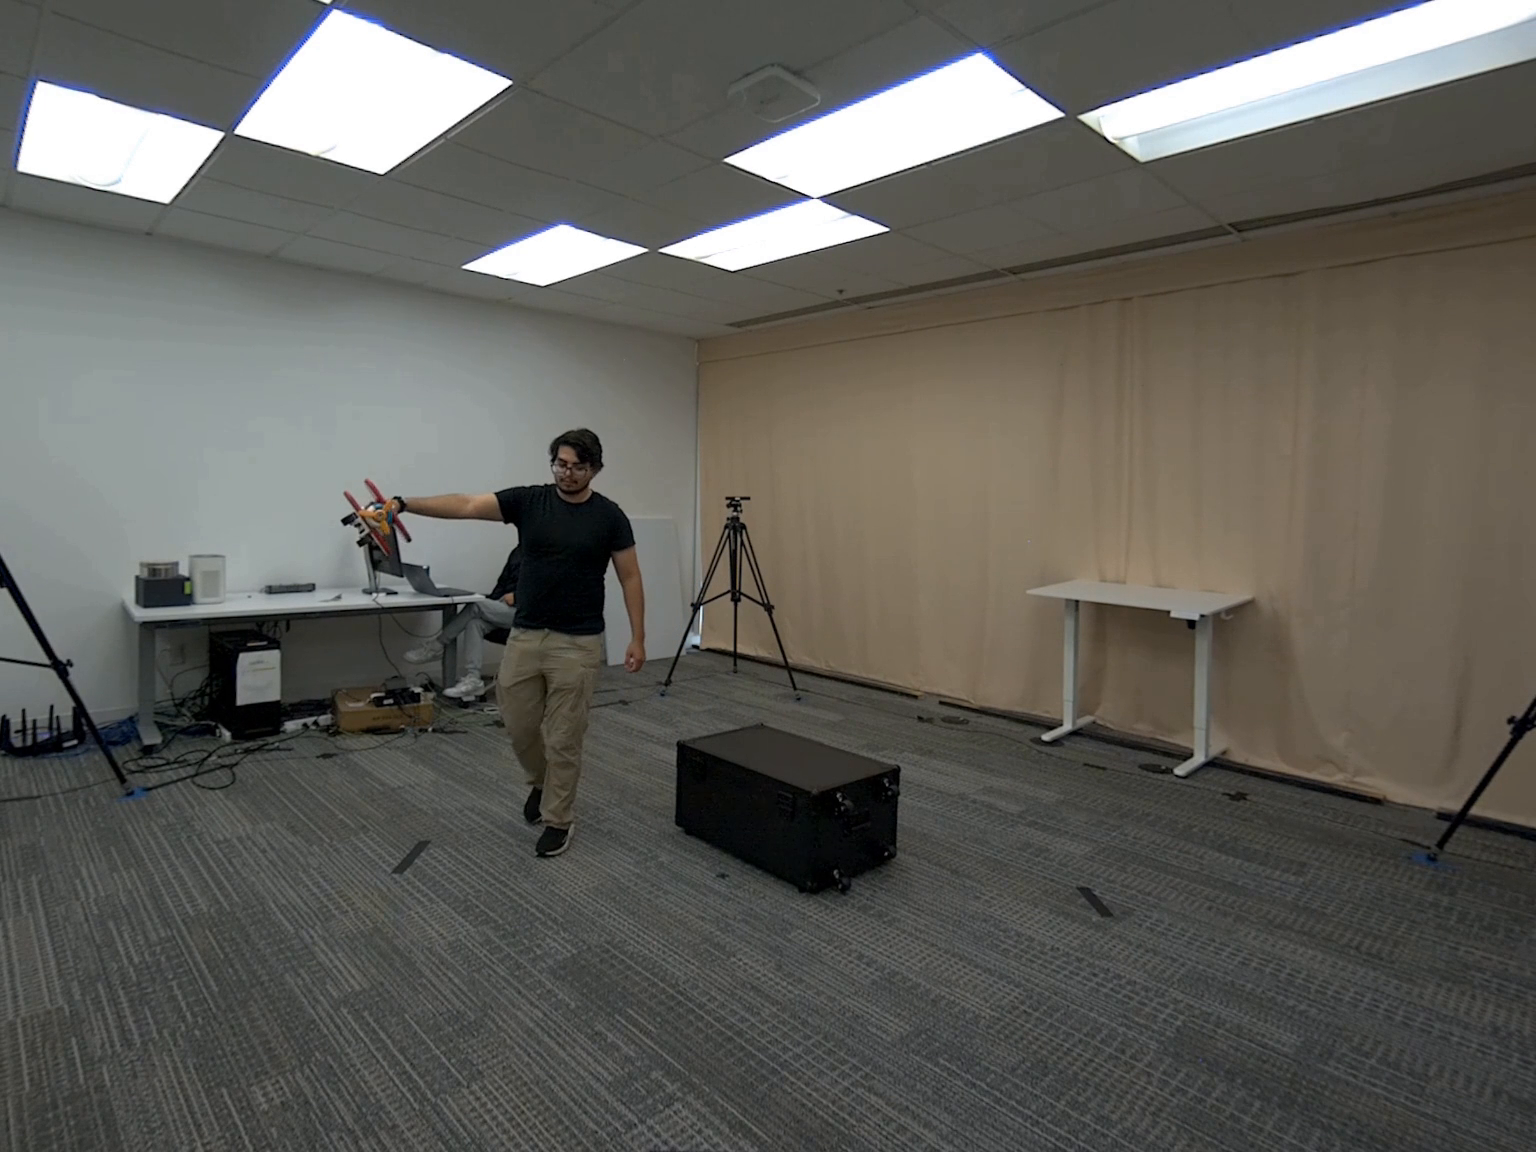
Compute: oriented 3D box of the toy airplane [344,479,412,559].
[{"bbox_3d":[-1.378,-0.204,2.888,0.156,0.244,0.268,-35,43,-12],"label":"toy airplane"}]
